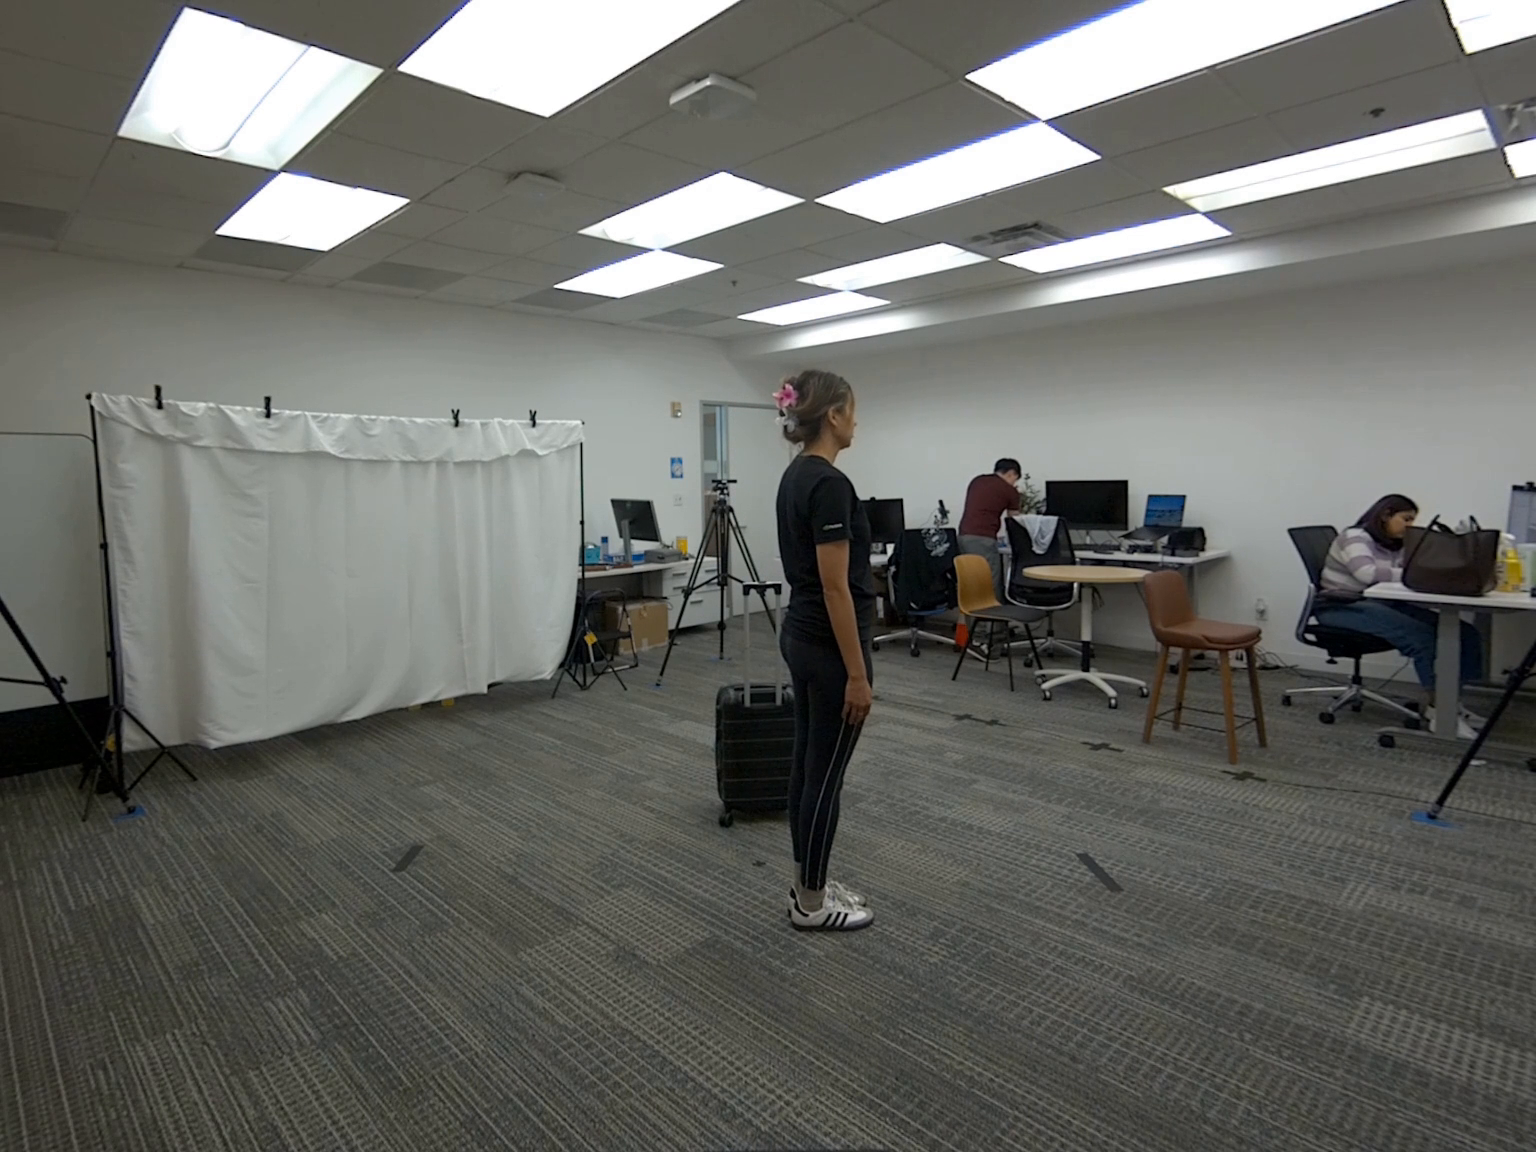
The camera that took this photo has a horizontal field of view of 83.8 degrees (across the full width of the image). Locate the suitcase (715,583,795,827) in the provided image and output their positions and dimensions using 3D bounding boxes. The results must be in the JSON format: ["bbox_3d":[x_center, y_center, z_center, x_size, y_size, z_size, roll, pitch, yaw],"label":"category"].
[{"bbox_3d":[-0.034,0.515,3.563,0.383,0.976,0.258,-1,3,-3],"label":"suitcase"}]
